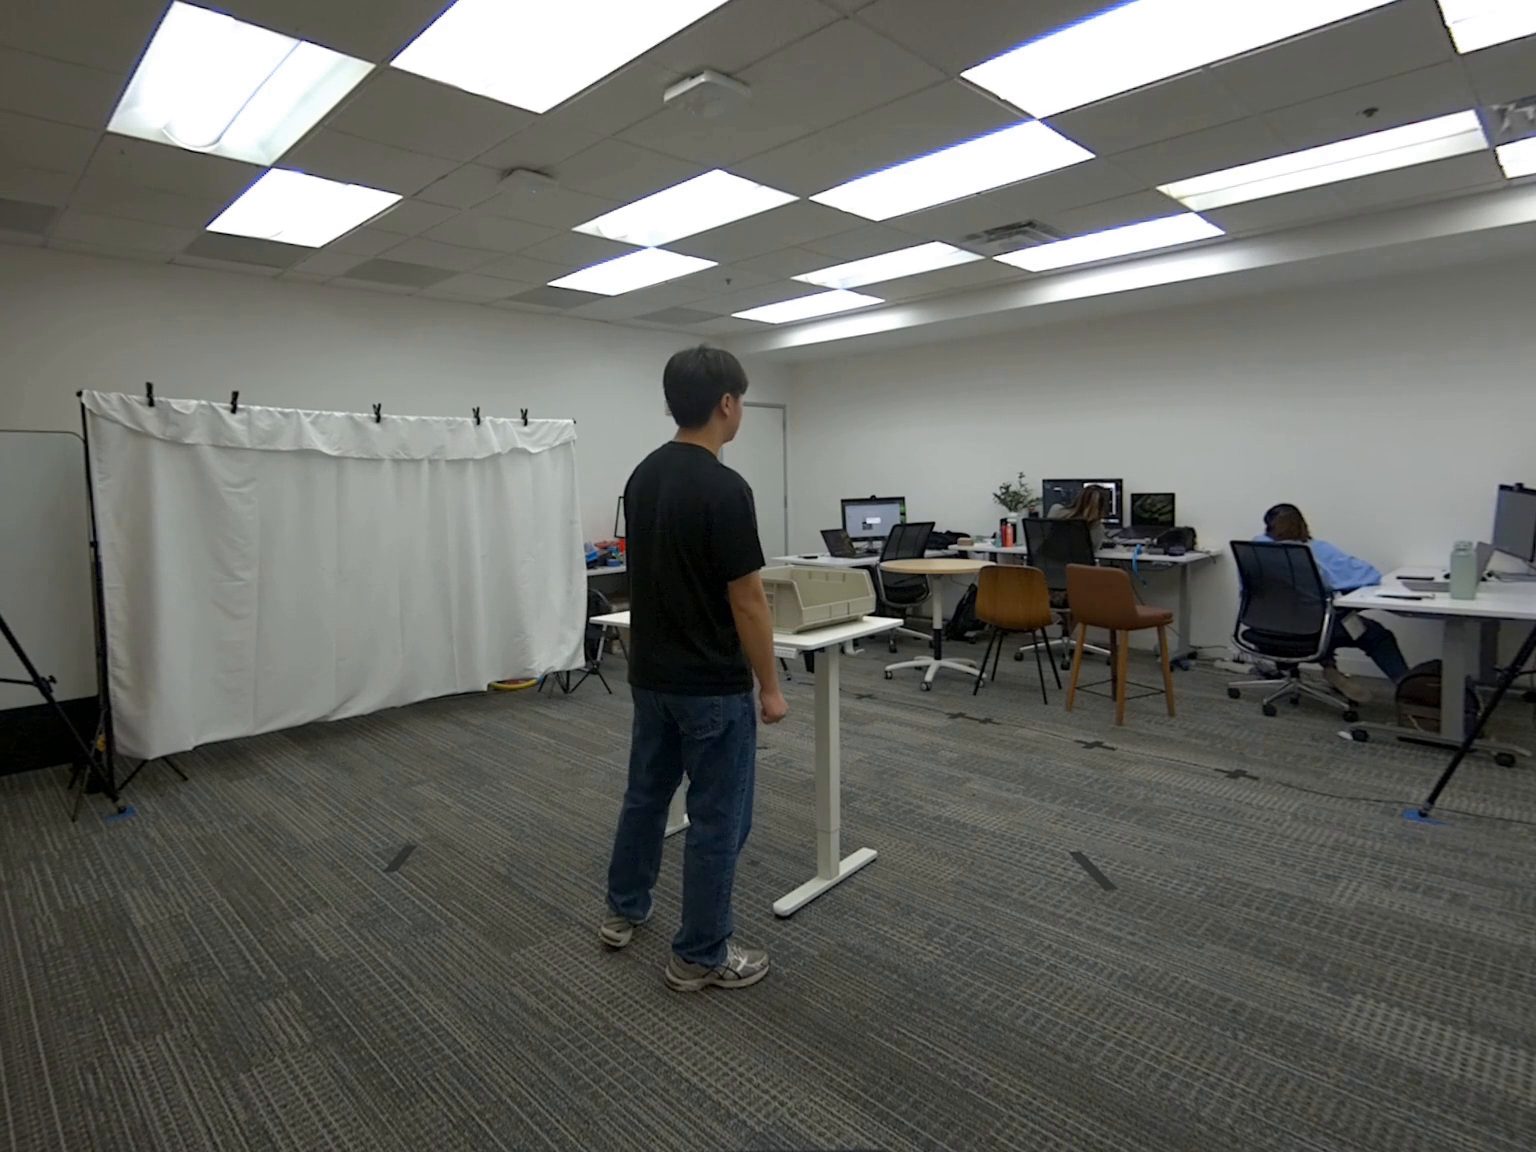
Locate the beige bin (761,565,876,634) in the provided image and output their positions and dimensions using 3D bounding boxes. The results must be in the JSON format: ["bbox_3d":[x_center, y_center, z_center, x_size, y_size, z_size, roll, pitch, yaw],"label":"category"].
[{"bbox_3d":[0.100,0.080,2.991,0.388,0.188,0.411,2,7,42],"label":"beige bin"}]
